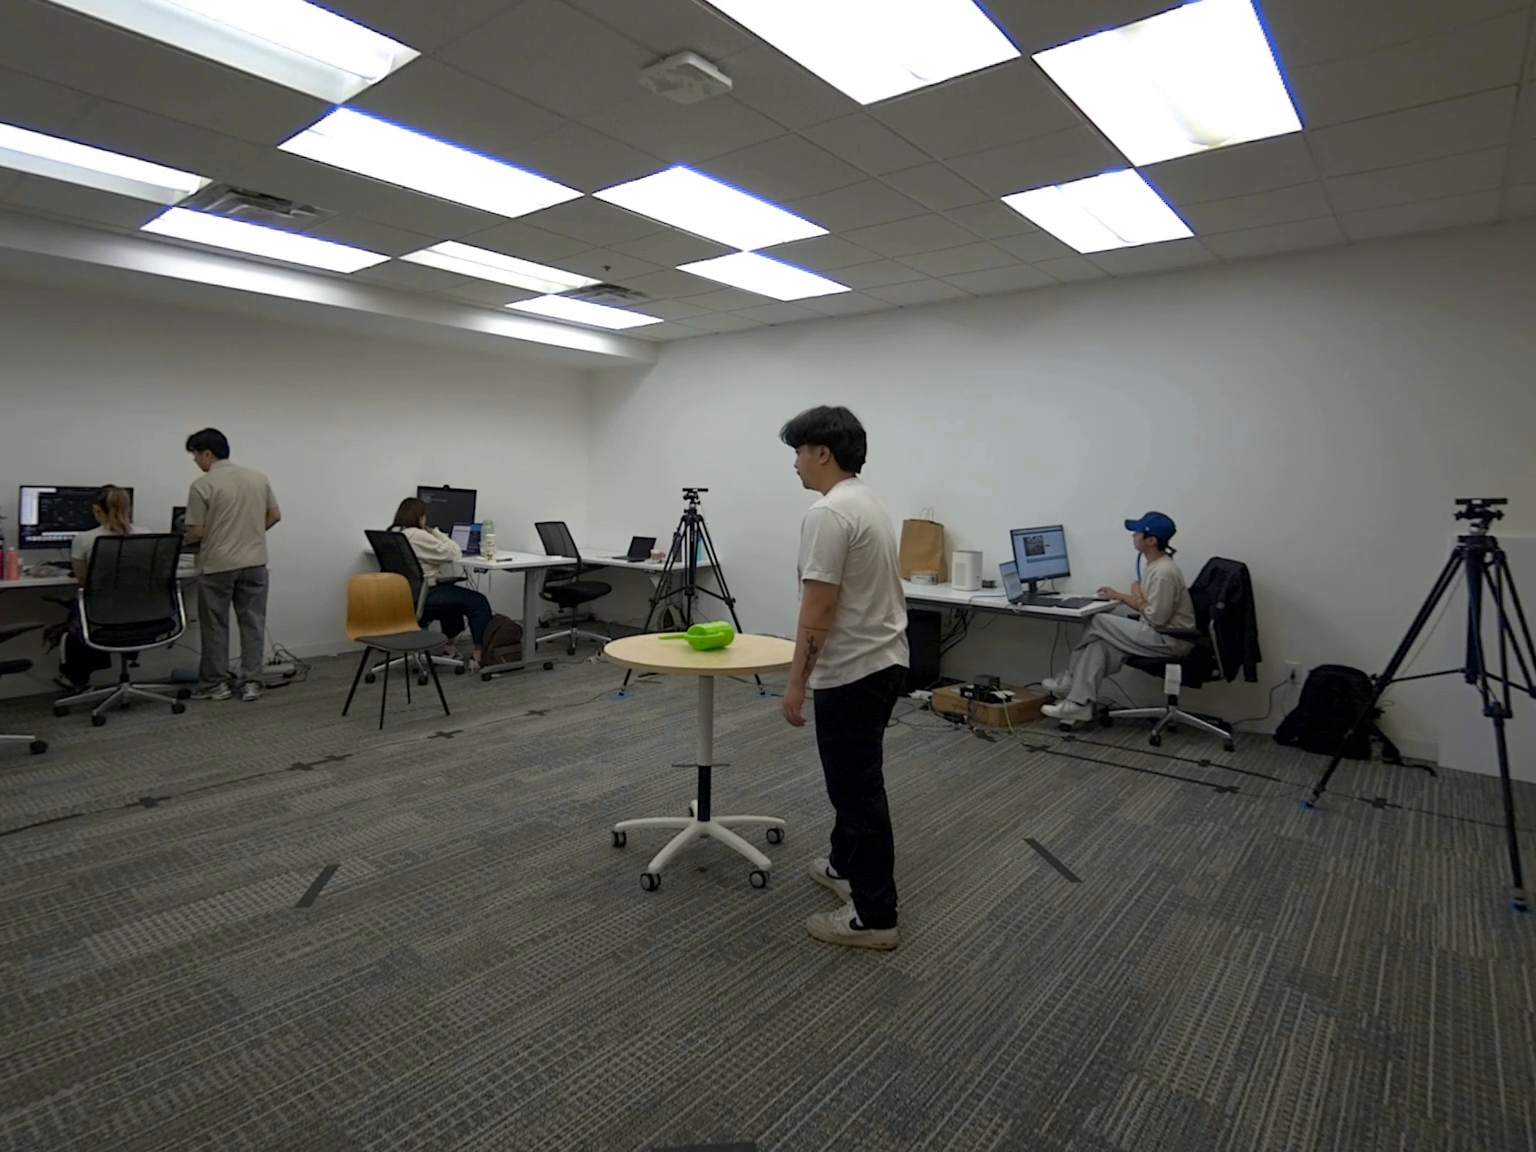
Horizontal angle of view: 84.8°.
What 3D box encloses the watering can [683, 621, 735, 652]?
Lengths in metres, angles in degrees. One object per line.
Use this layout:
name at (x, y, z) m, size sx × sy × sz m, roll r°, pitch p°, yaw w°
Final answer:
watering can at (-0.272, 0.214, 3.200) m, size 0.289 × 0.097 × 0.171 m, roll 13°, pitch 11°, yaw 43°
